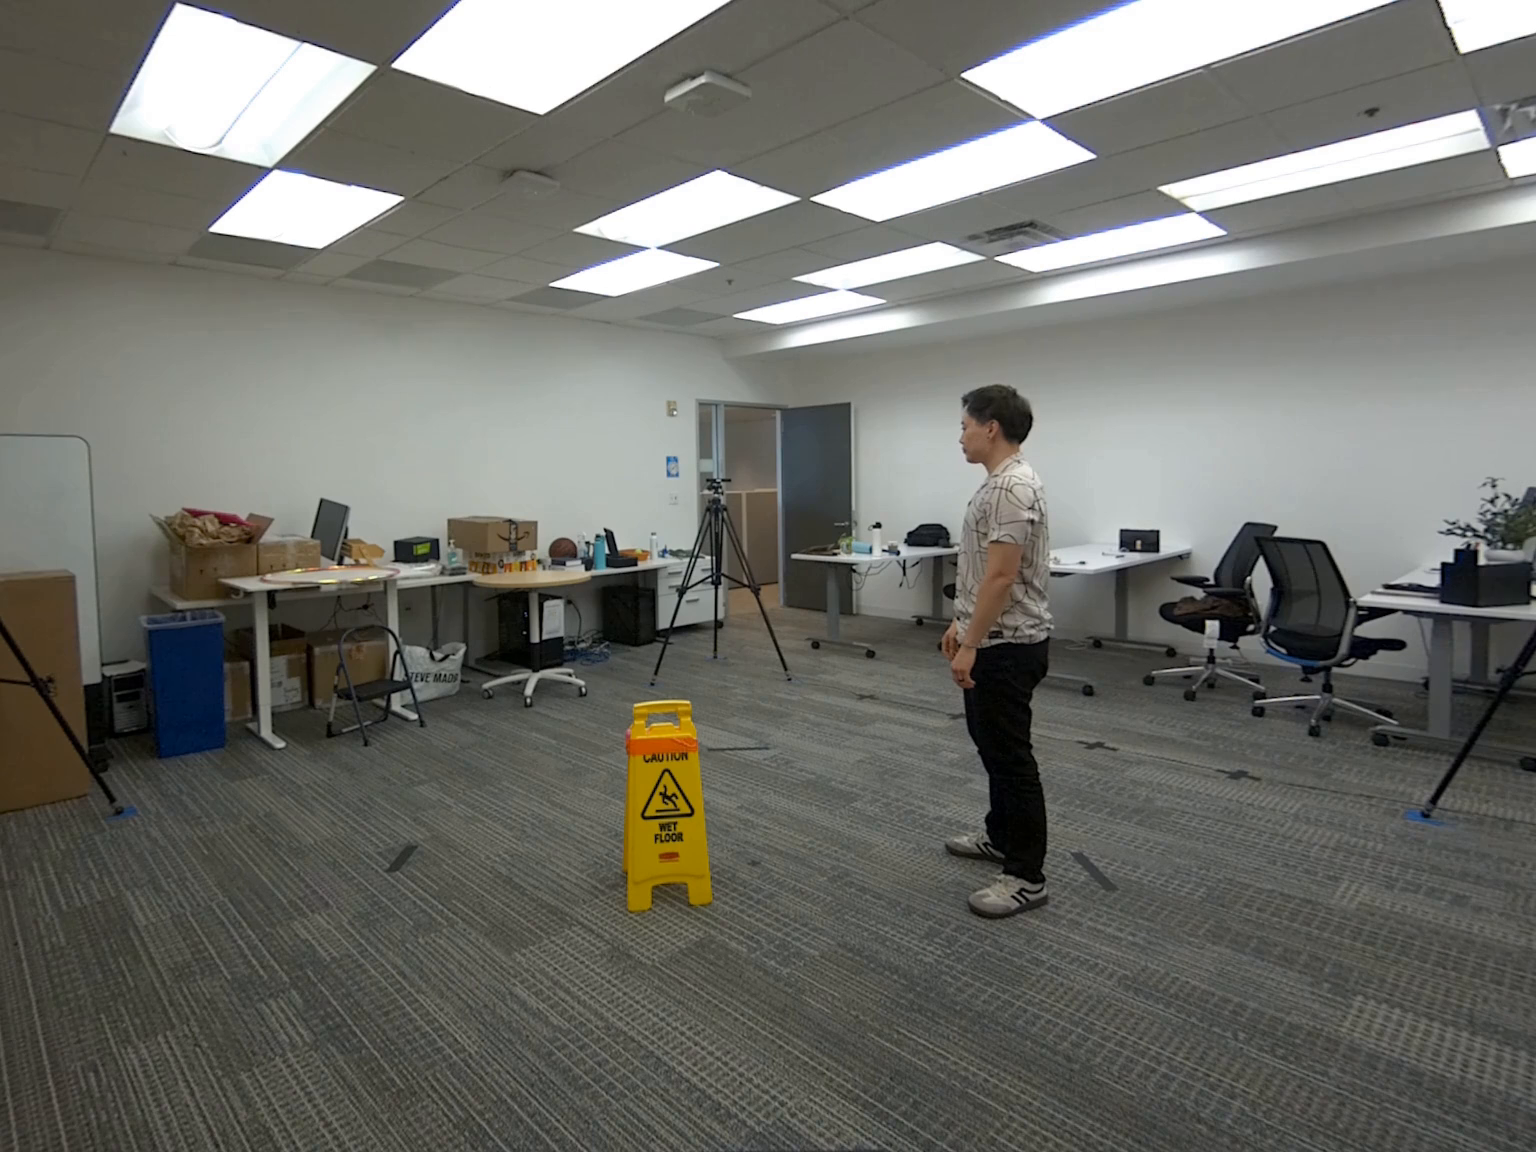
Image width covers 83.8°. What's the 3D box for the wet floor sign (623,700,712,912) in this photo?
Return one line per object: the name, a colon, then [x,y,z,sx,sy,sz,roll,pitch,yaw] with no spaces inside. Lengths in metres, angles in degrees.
wet floor sign: [-0.354,0.744,2.916,0.279,0.643,0.294,-2,5,-12]
